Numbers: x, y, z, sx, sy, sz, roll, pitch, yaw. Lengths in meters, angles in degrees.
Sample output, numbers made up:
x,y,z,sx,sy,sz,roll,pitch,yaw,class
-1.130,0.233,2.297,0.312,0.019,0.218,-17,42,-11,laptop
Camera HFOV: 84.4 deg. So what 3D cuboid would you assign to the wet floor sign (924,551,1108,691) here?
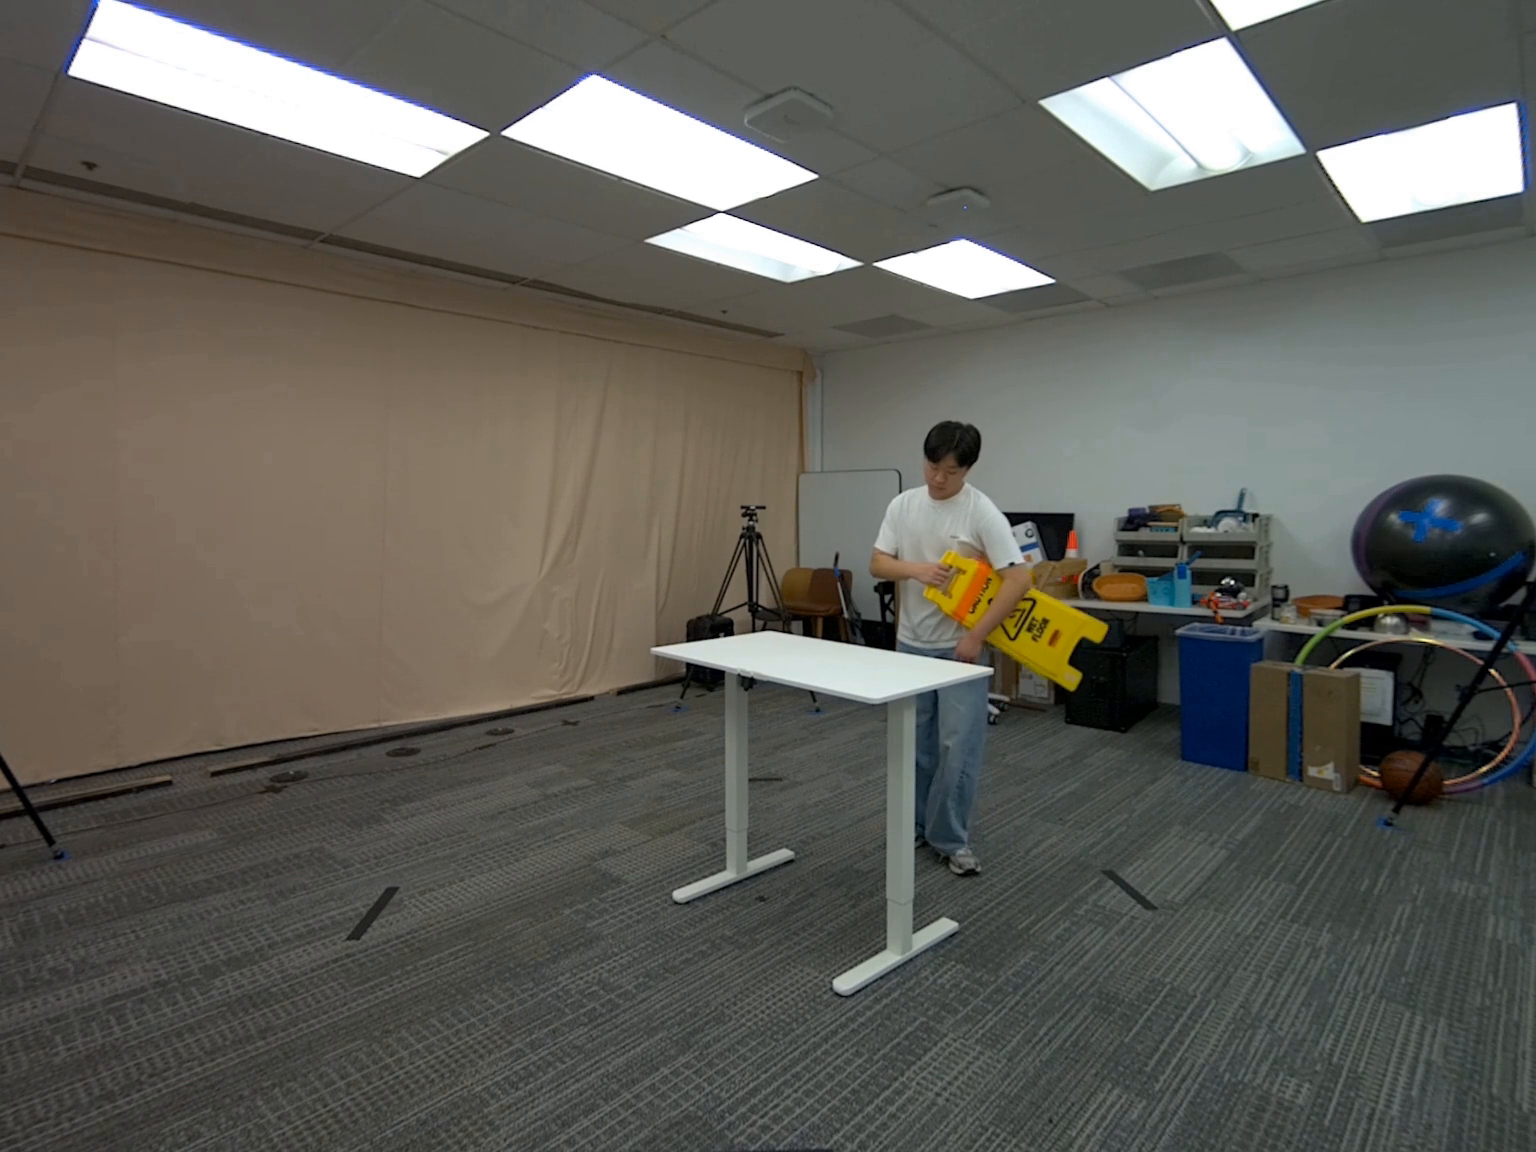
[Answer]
x,y,z,sx,sy,sz,roll,pitch,yaw,class
0.899,0.160,3.153,0.639,0.282,0.293,28,-1,-9,wet floor sign
